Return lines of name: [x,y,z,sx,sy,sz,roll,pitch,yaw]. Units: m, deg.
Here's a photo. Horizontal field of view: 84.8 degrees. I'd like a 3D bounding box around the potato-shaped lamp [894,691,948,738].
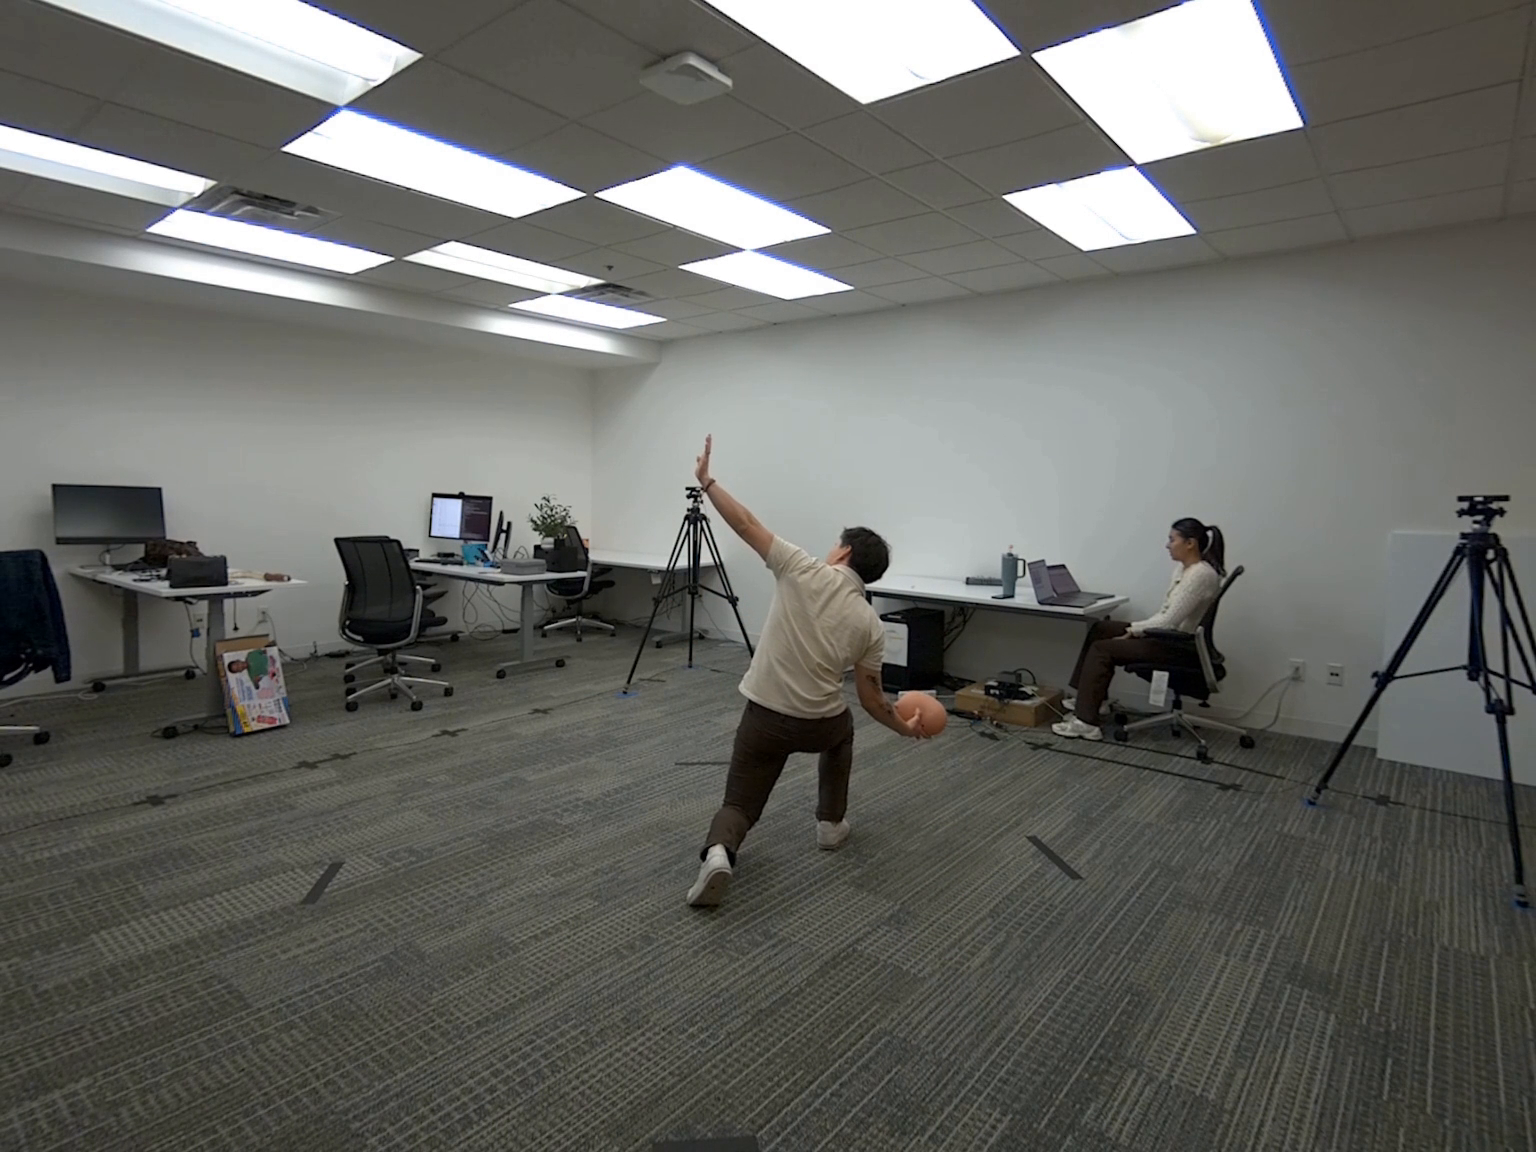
potato-shaped lamp: [0.617,0.562,3.451,0.206,0.159,0.170,27,50,37]
